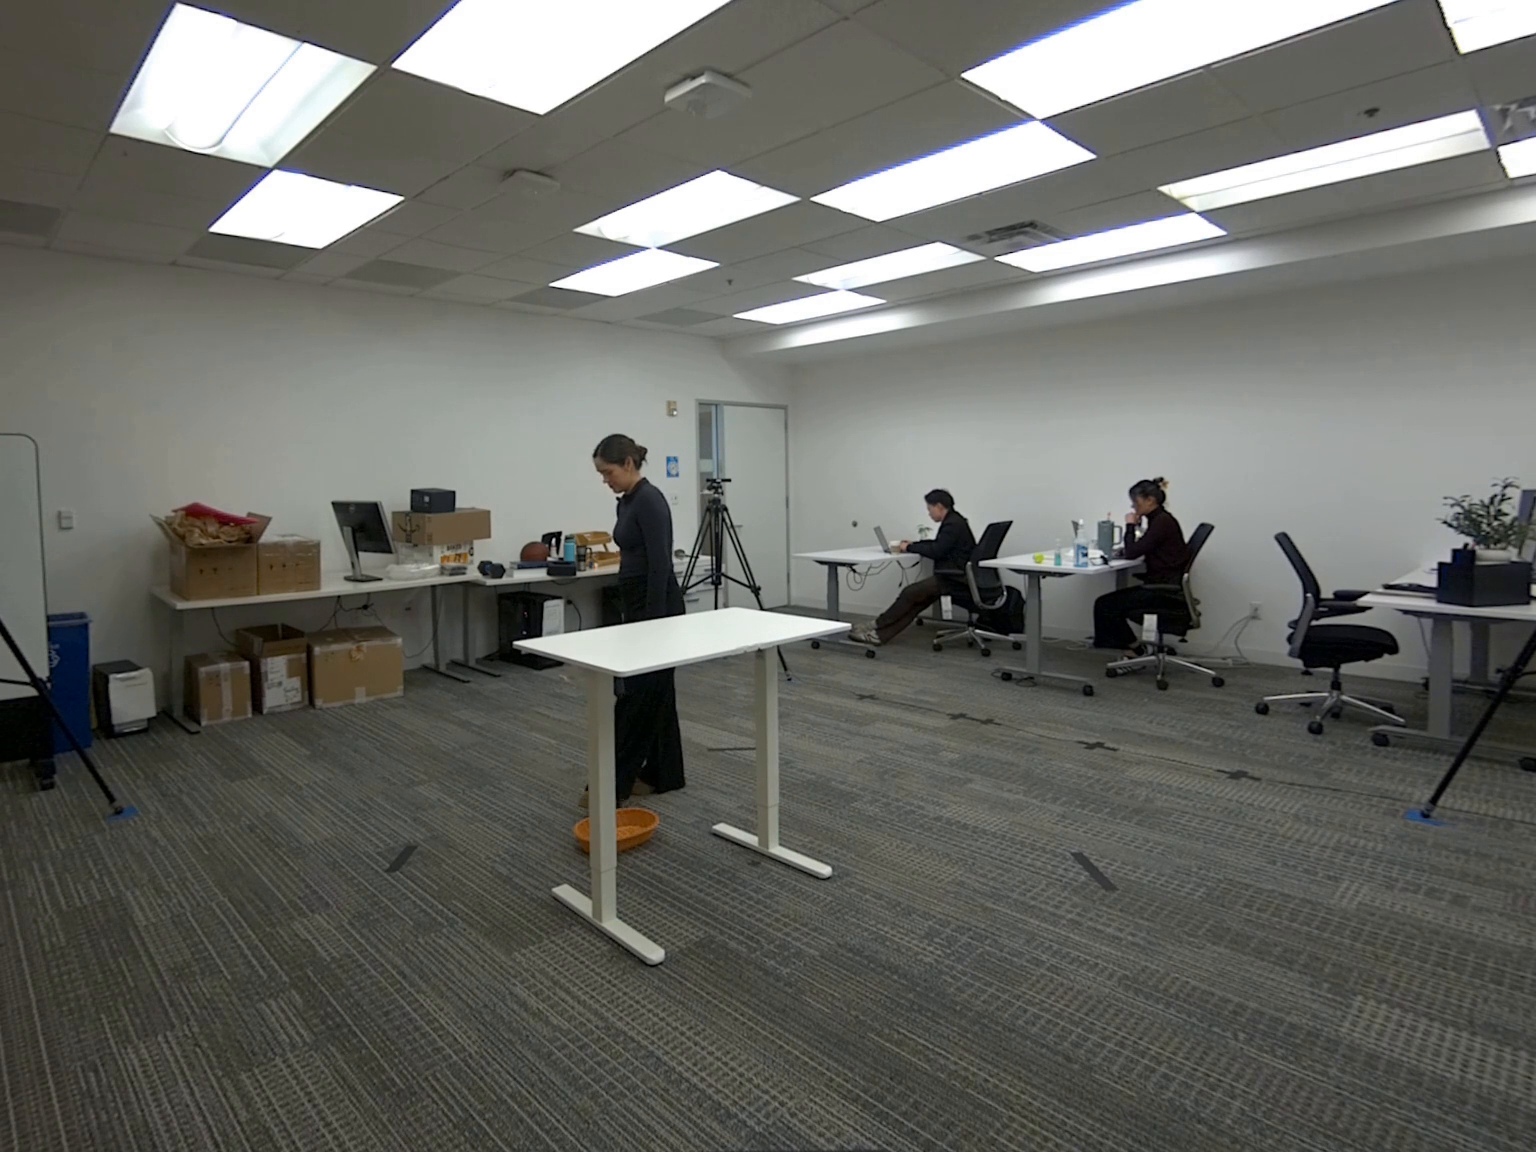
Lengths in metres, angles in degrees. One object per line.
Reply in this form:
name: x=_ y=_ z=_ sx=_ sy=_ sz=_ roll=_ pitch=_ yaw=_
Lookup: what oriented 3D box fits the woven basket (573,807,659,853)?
woven basket: x=-0.588 y=0.988 z=3.310 sx=0.341 sy=0.073 sz=0.260 roll=-7 pitch=9 yaw=-37
